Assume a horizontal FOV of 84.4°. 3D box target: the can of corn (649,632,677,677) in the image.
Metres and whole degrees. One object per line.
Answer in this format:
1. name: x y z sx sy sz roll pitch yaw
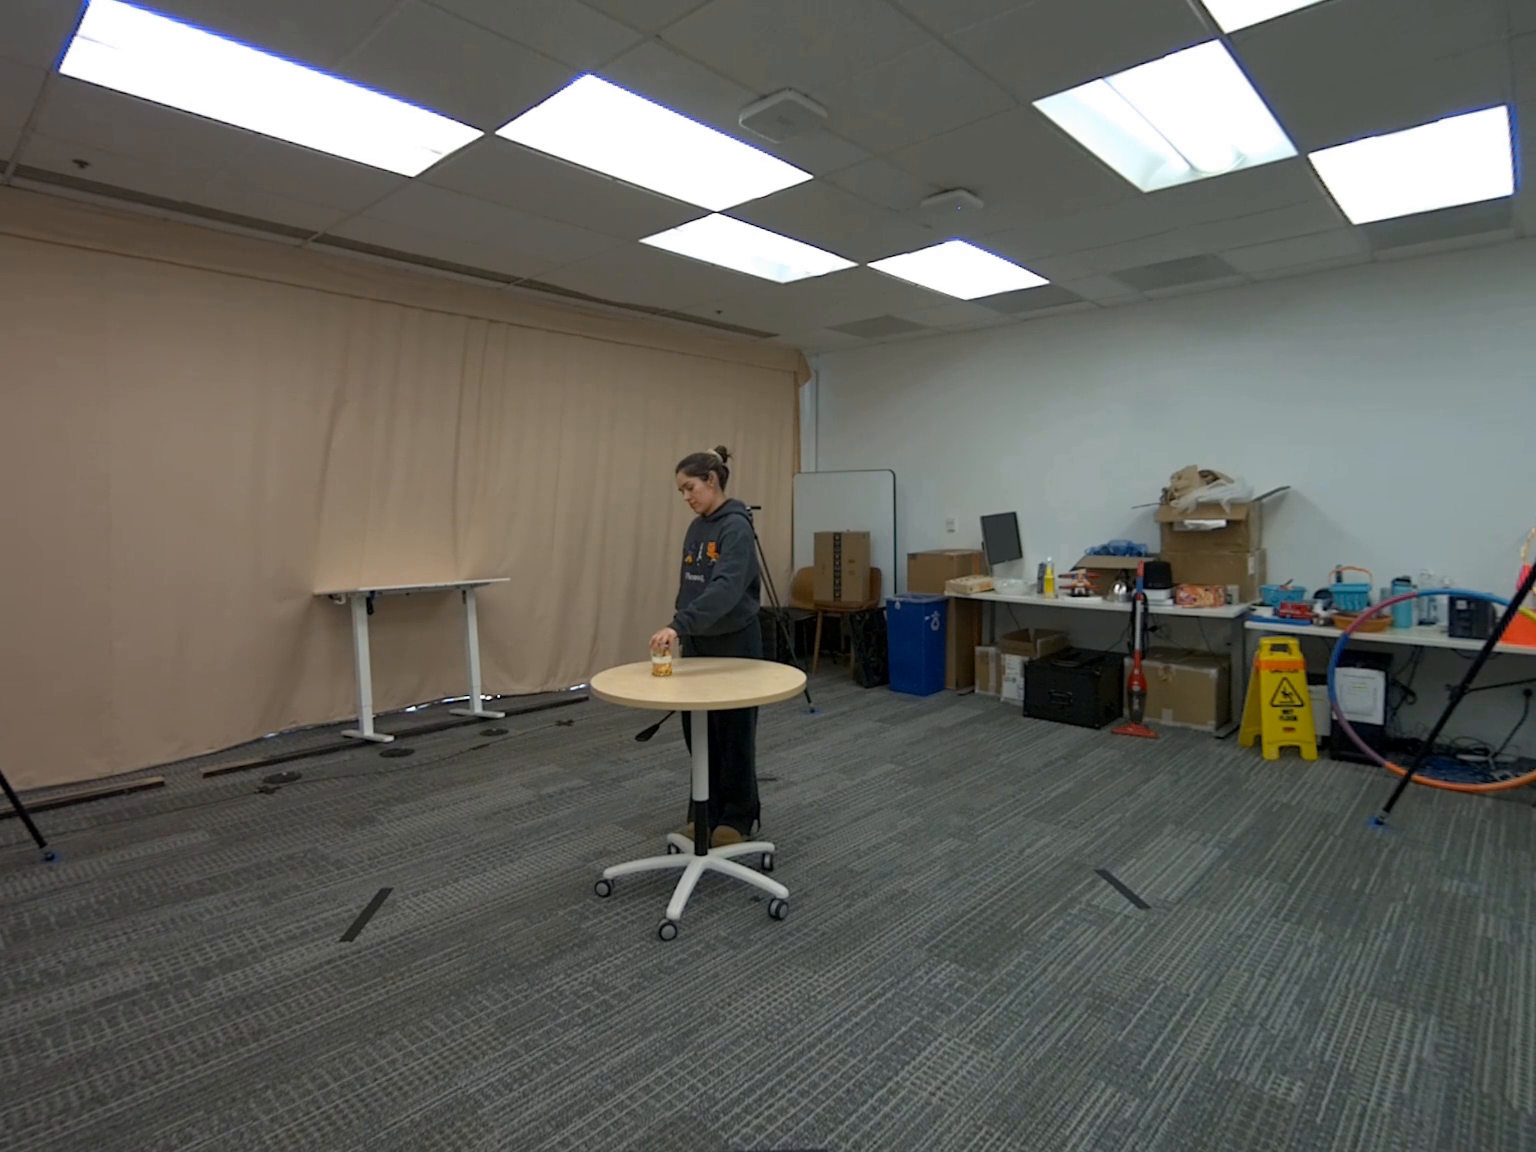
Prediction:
1. can of corn: -0.373 0.294 3.048 0.074 0.110 0.074 2 7 -2
